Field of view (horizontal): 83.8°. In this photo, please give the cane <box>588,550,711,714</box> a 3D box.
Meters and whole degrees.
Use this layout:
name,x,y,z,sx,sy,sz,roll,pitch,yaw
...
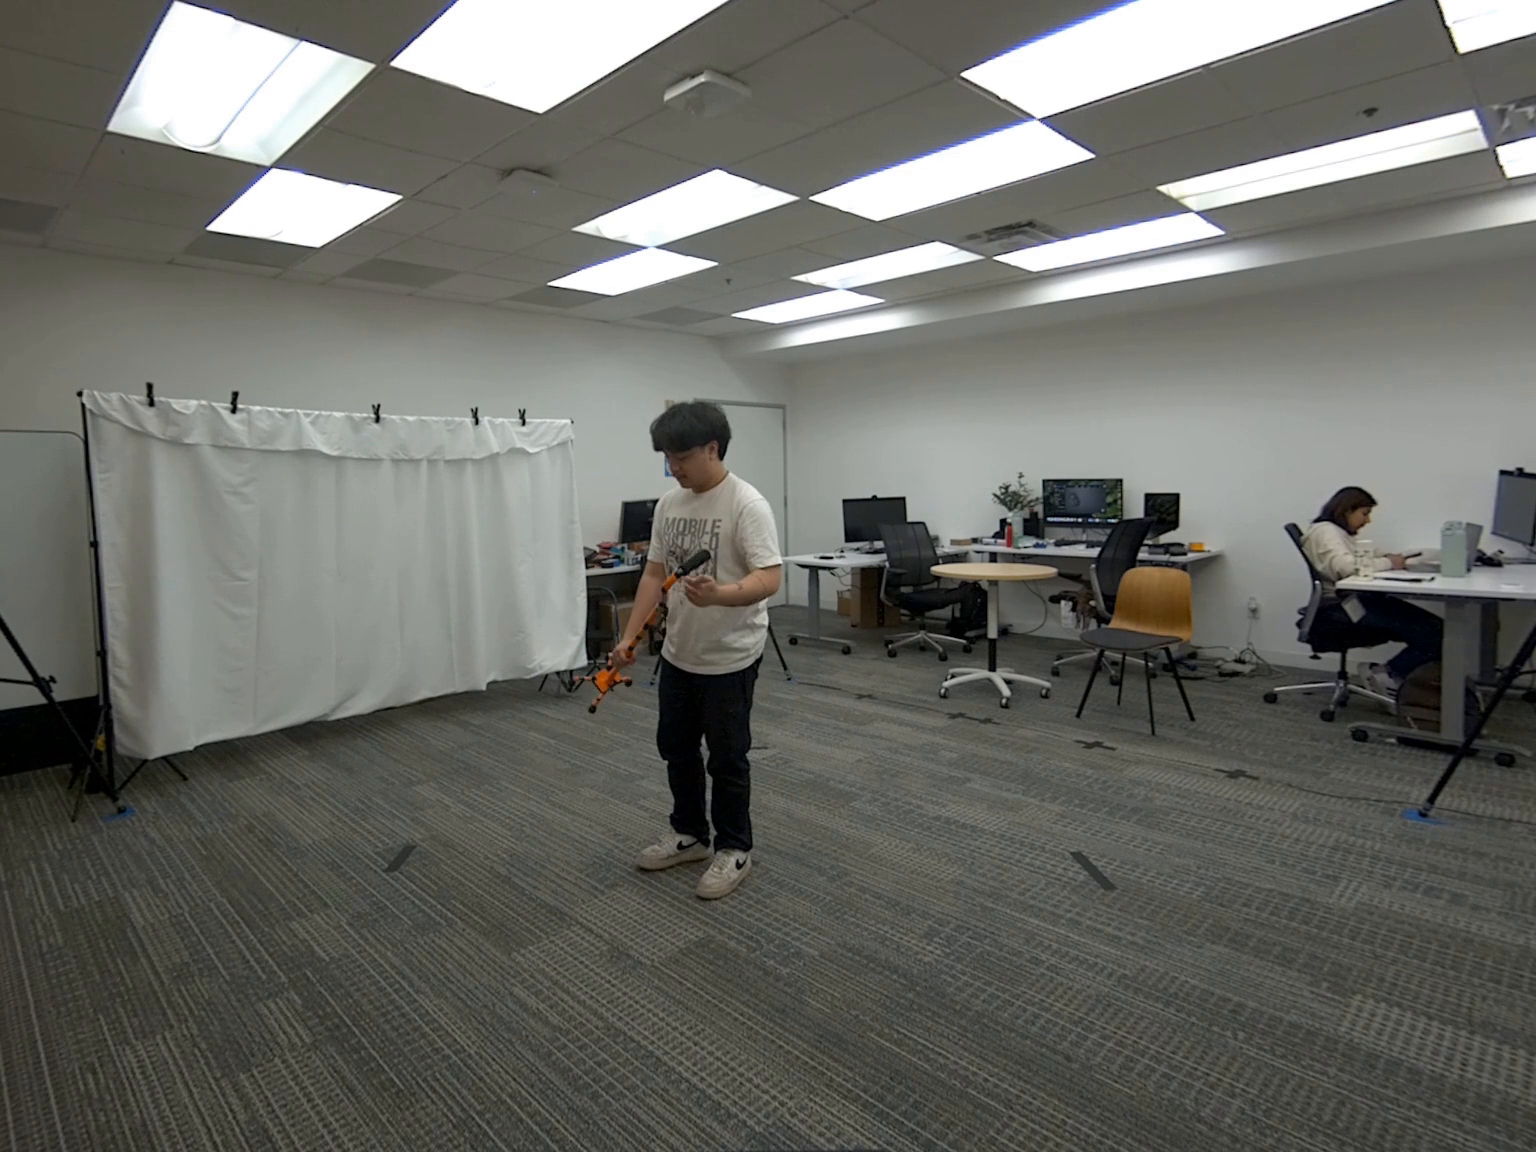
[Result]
name,x,y,z,sx,sy,sz,roll,pitch,yaw
cane,-0.431,0.191,2.770,0.205,0.153,0.904,-36,-9,-38
